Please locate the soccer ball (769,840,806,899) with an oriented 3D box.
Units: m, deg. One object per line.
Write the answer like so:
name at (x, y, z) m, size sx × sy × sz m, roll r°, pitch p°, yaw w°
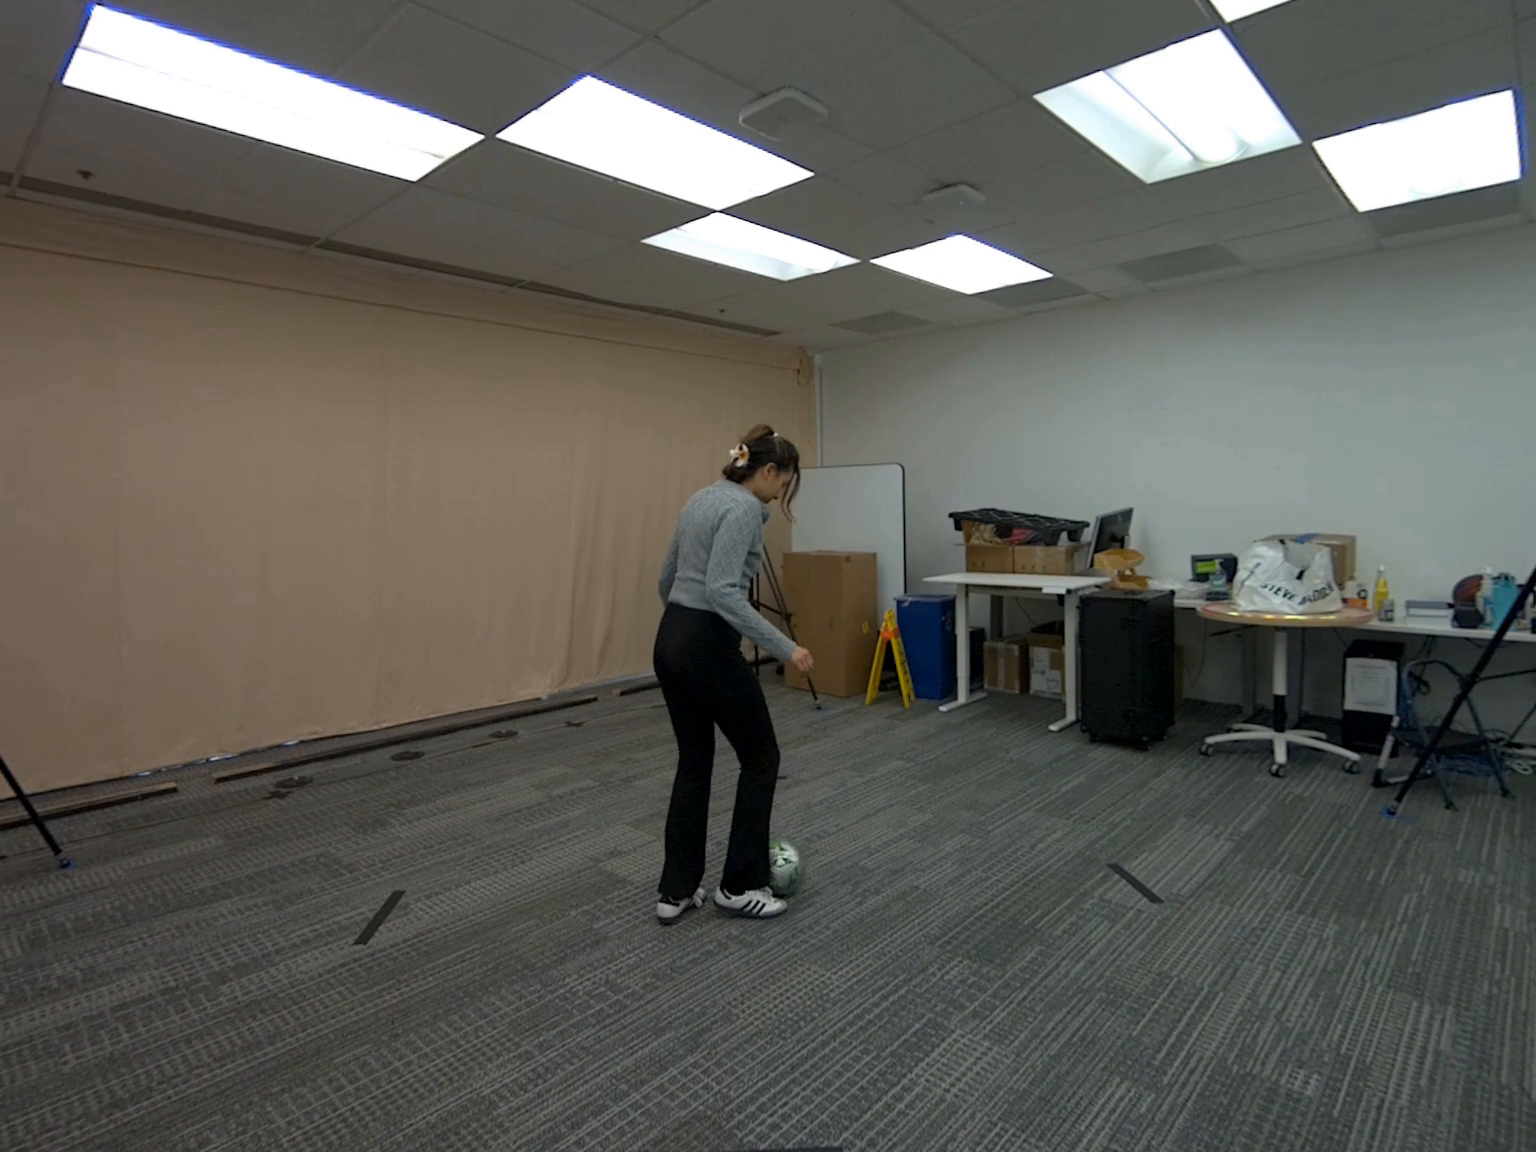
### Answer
soccer ball at (0.048, 1.041, 3.013) m, size 0.187 × 0.187 × 0.188 m, roll -1°, pitch 4°, yaw -2°
